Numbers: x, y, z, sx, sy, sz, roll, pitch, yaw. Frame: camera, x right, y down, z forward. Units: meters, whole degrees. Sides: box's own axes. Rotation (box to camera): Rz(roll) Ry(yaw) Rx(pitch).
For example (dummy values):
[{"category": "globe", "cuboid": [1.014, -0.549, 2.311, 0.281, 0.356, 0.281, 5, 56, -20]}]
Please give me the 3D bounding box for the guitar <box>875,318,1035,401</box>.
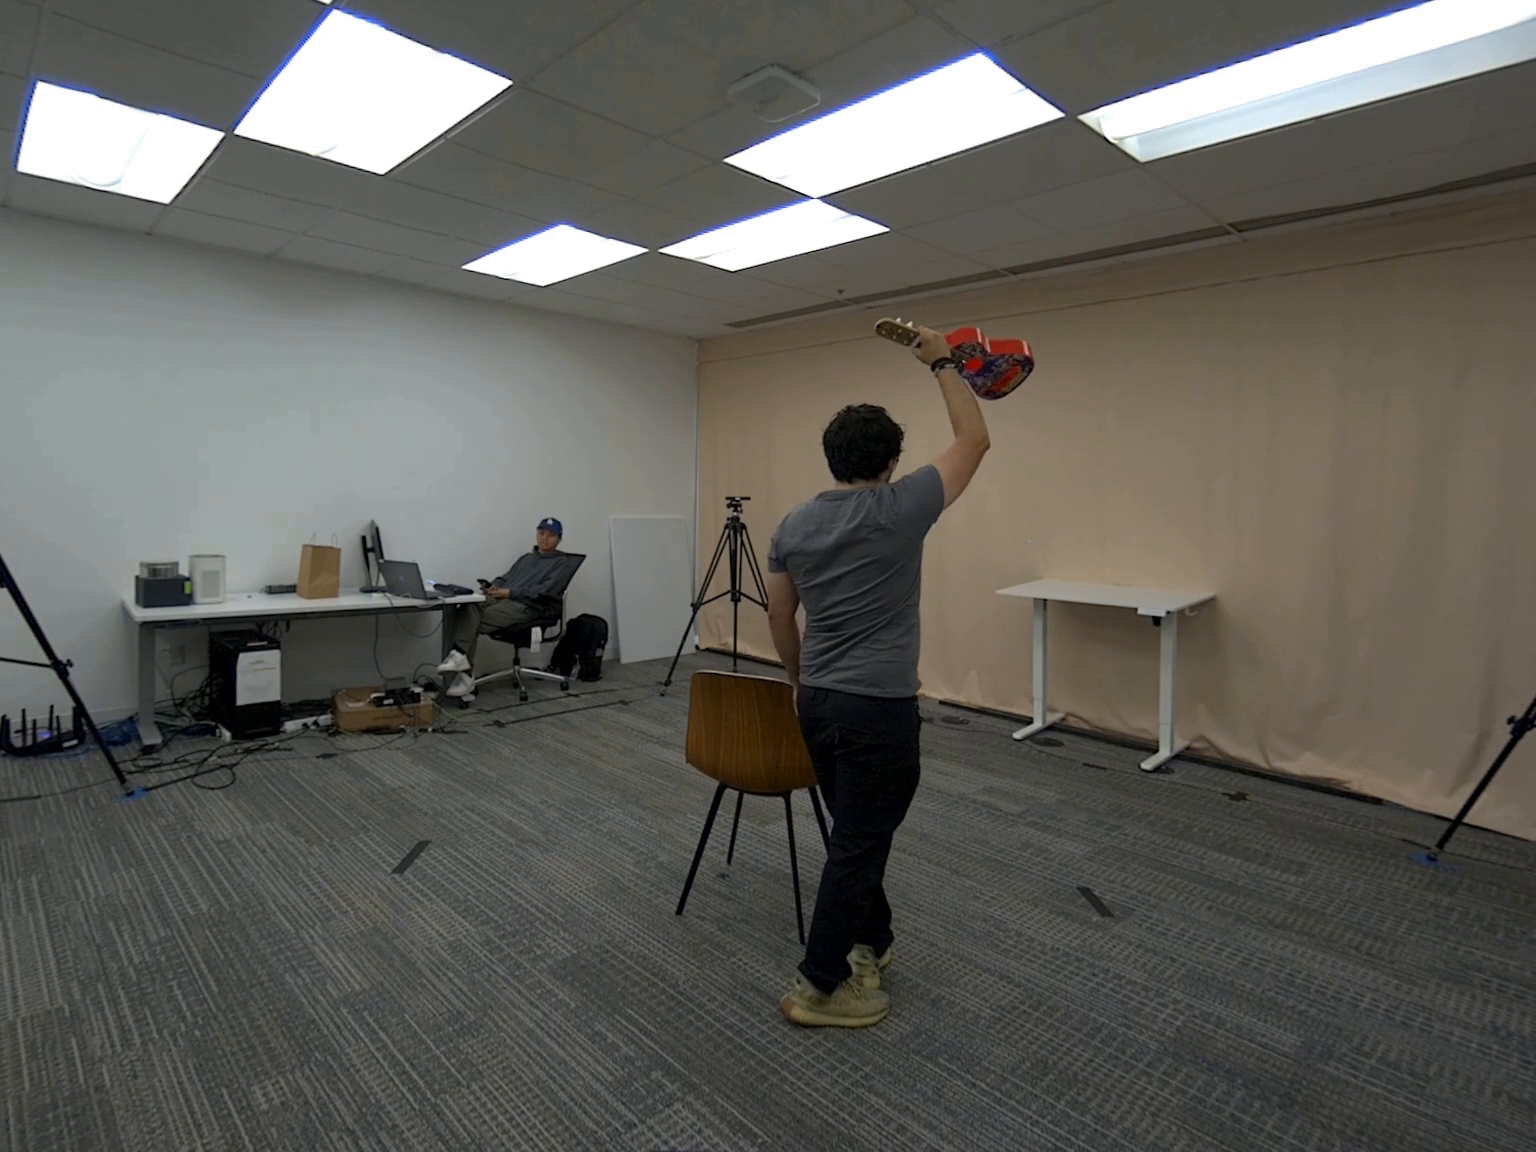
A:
[{"category": "guitar", "cuboid": [0.518, -0.647, 2.361, 0.485, 0.072, 0.194, 22, -39, -29]}]
